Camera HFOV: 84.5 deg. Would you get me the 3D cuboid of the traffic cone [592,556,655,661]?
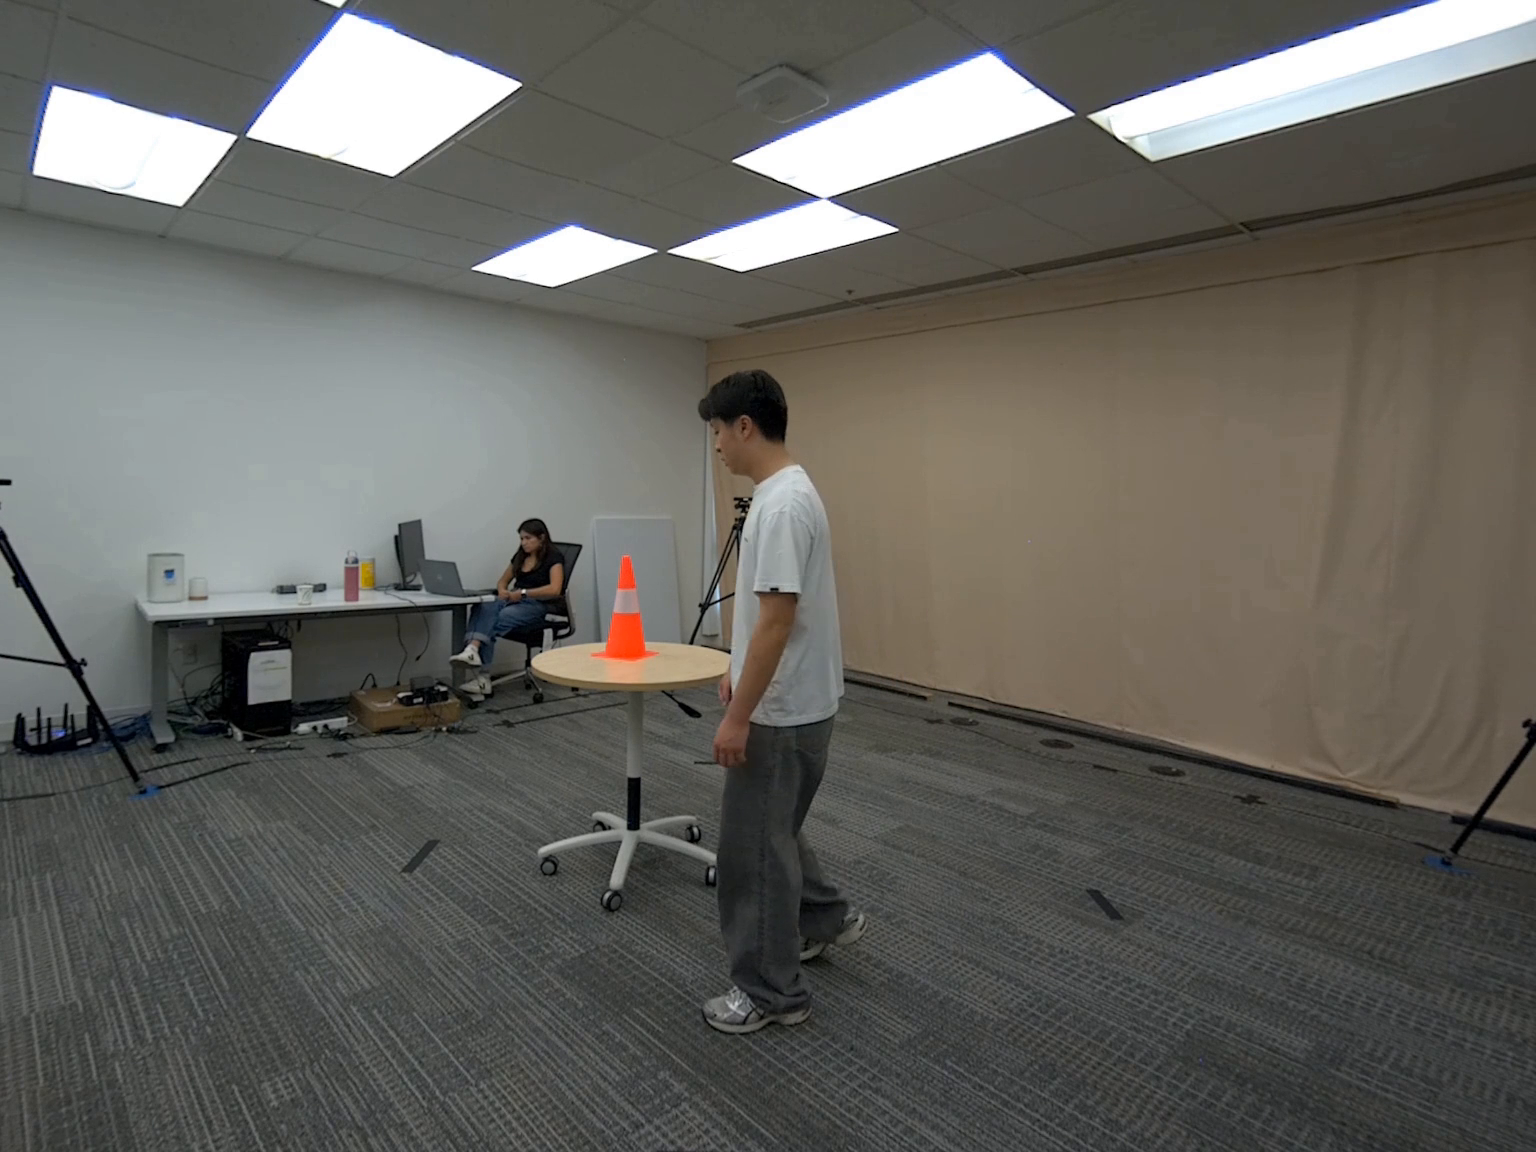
[{"bbox_3d":[-0.549,0.121,3.224,0.207,0.383,0.201,3,3,24],"label":"traffic cone"}]
